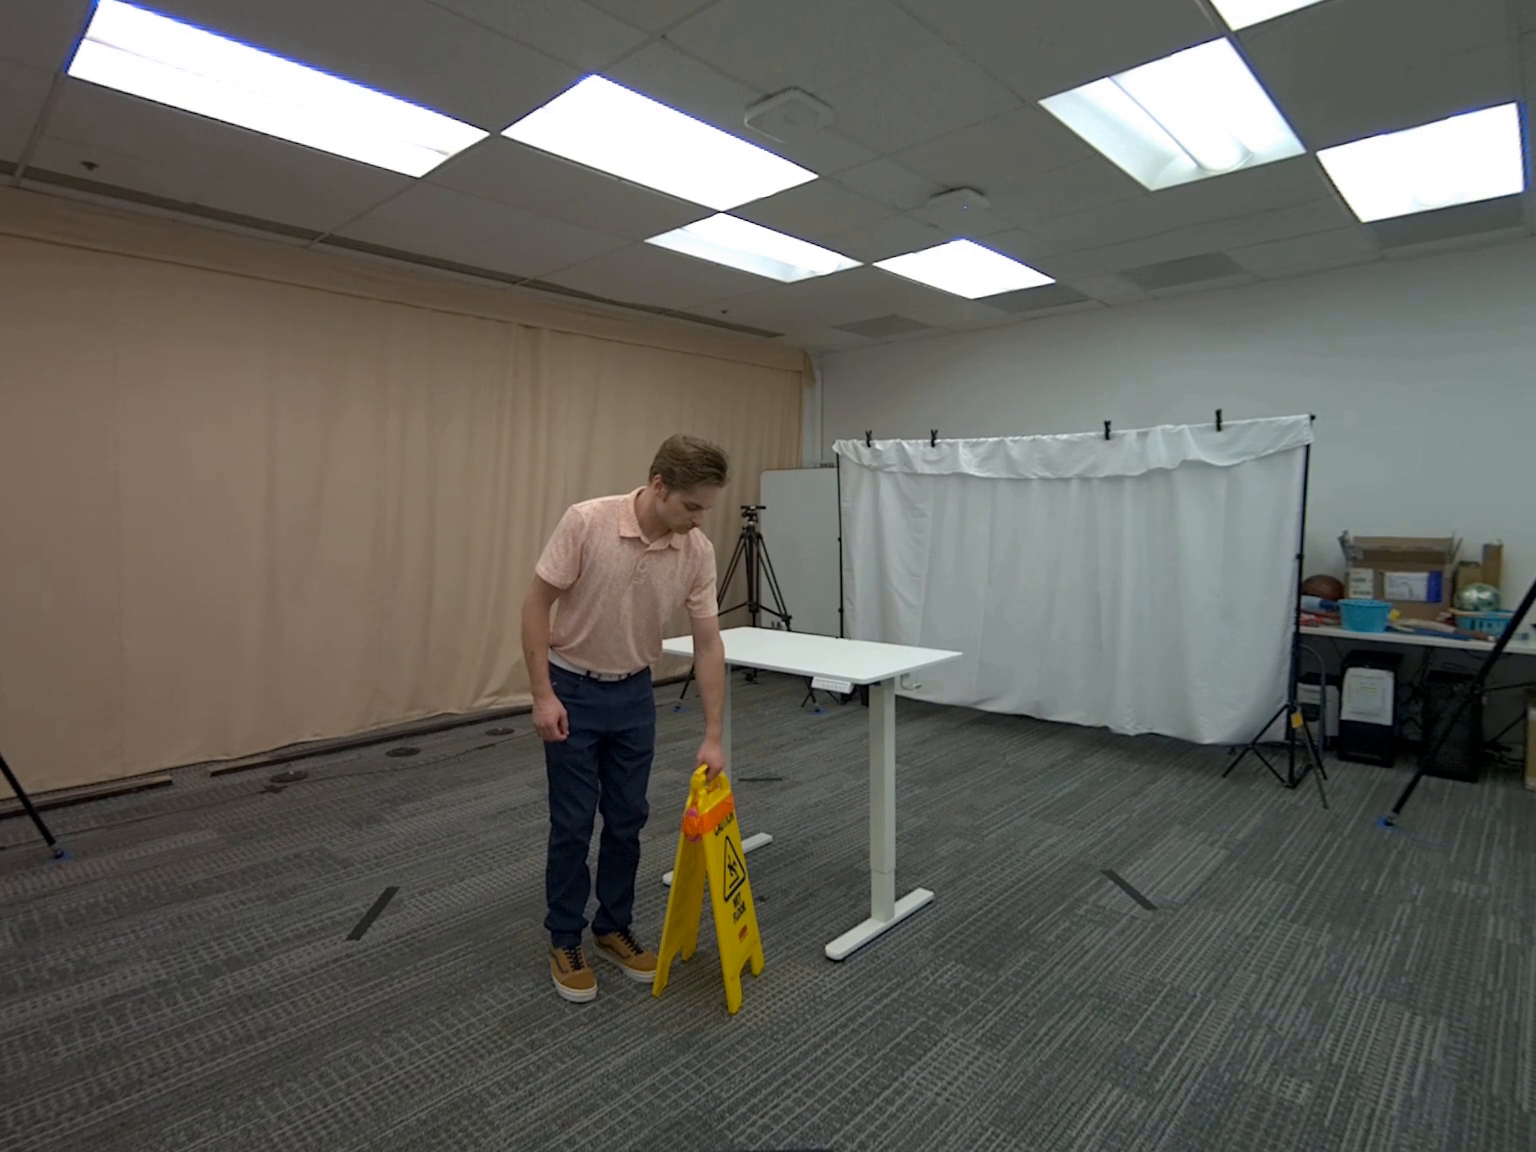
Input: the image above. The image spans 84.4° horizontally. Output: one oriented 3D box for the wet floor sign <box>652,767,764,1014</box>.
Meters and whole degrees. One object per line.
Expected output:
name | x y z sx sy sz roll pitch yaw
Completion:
wet floor sign | -0.171 0.865 2.456 0.295 0.646 0.277 1 1 15
